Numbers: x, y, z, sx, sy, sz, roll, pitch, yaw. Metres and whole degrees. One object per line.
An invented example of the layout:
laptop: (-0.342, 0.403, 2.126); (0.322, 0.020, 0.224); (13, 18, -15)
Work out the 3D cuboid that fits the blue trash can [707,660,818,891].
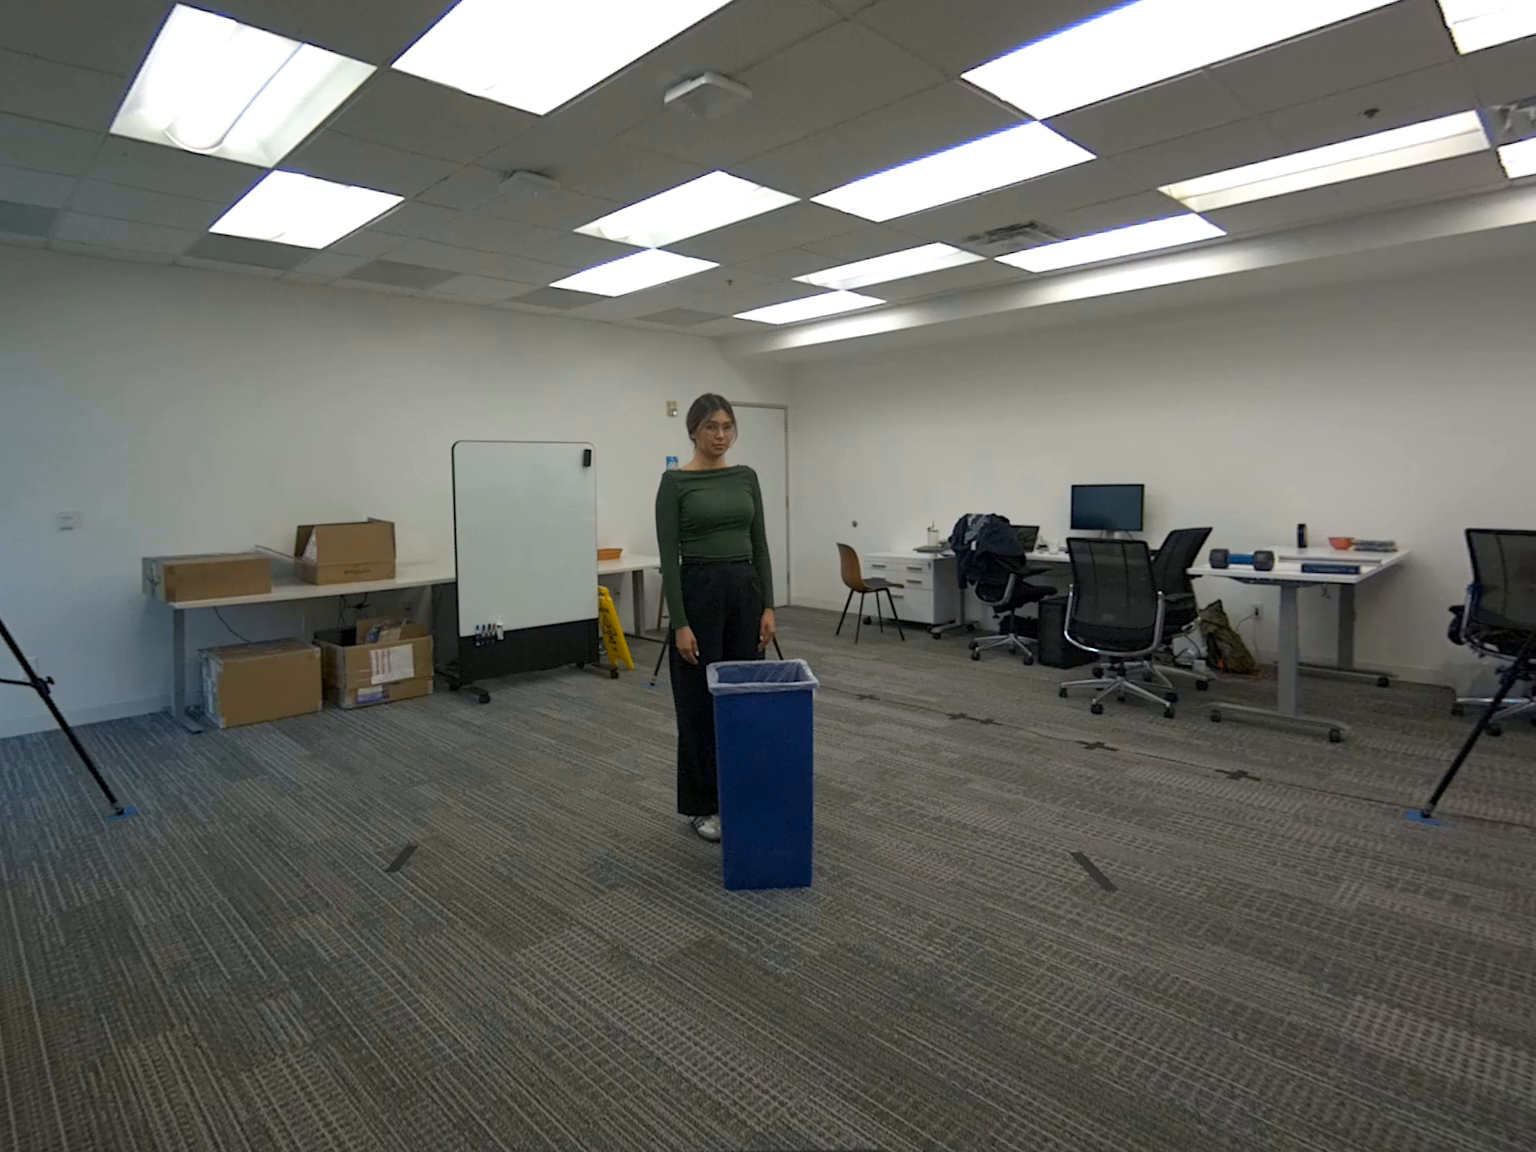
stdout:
blue trash can: (-0.014, 0.693, 3.030); (0.377, 0.711, 0.376); (-2, 3, -4)
